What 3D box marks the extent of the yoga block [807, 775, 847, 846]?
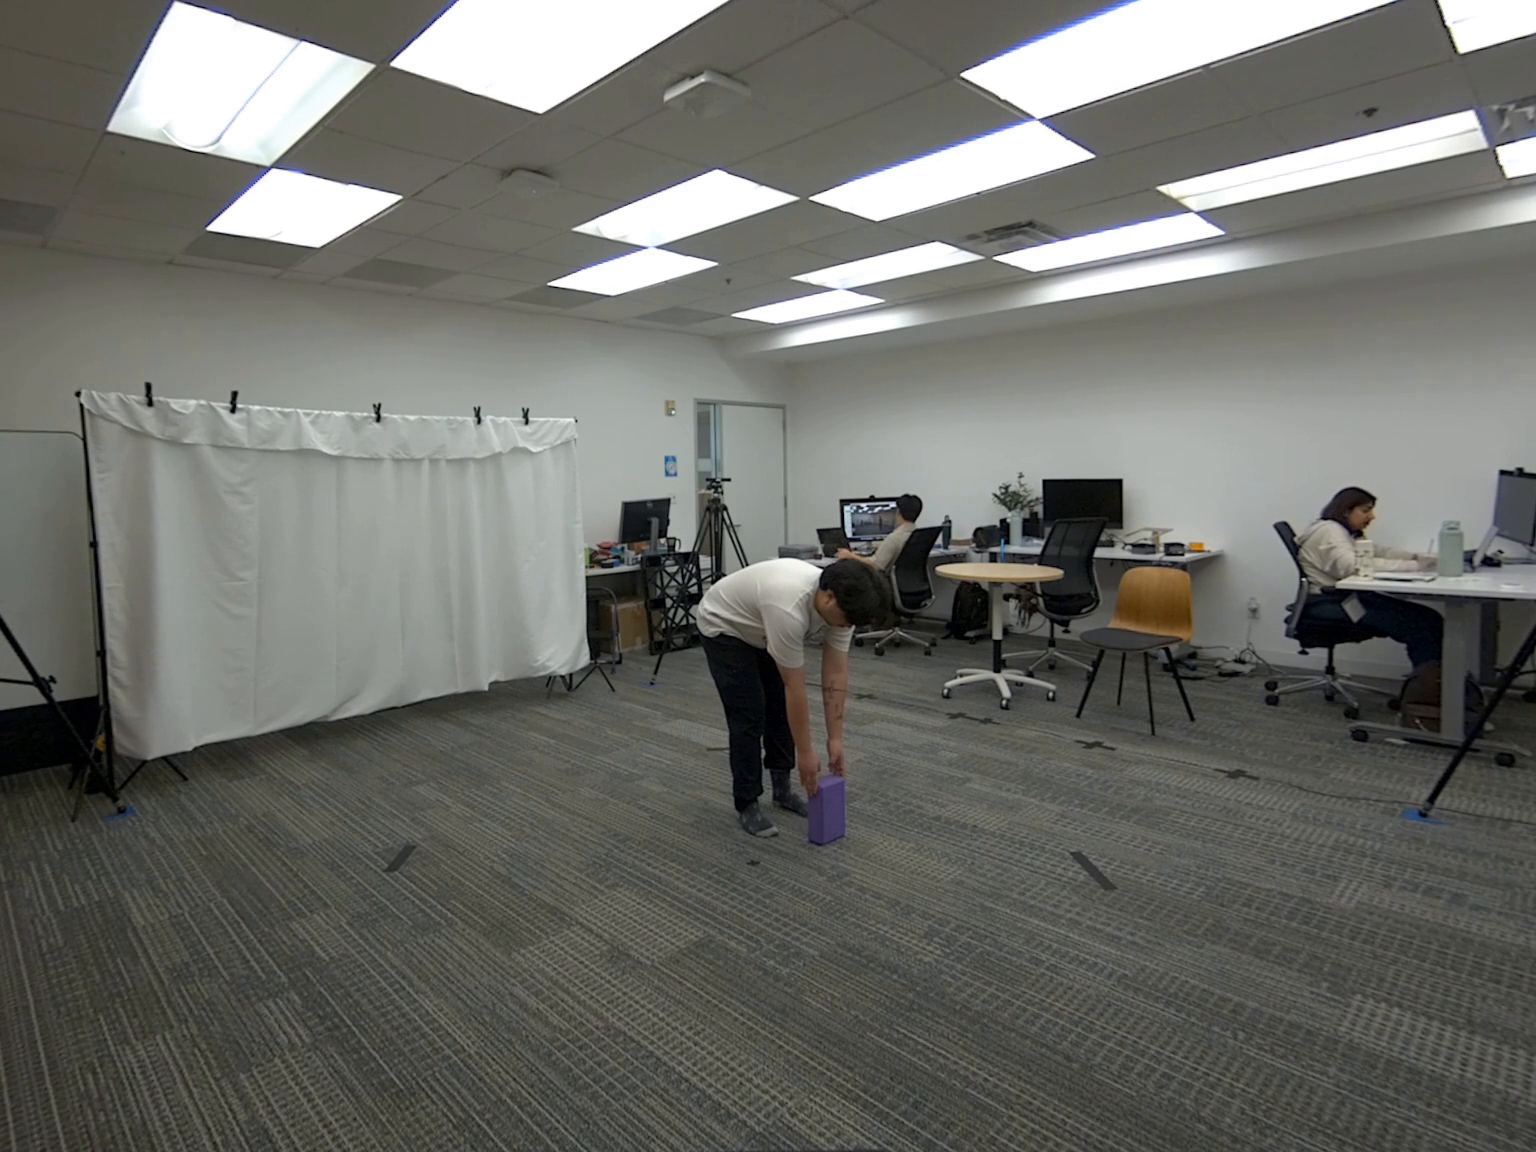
[{"bbox_3d":[0.230,0.905,3.306,0.078,0.229,0.145,0,2,45],"label":"yoga block"}]
